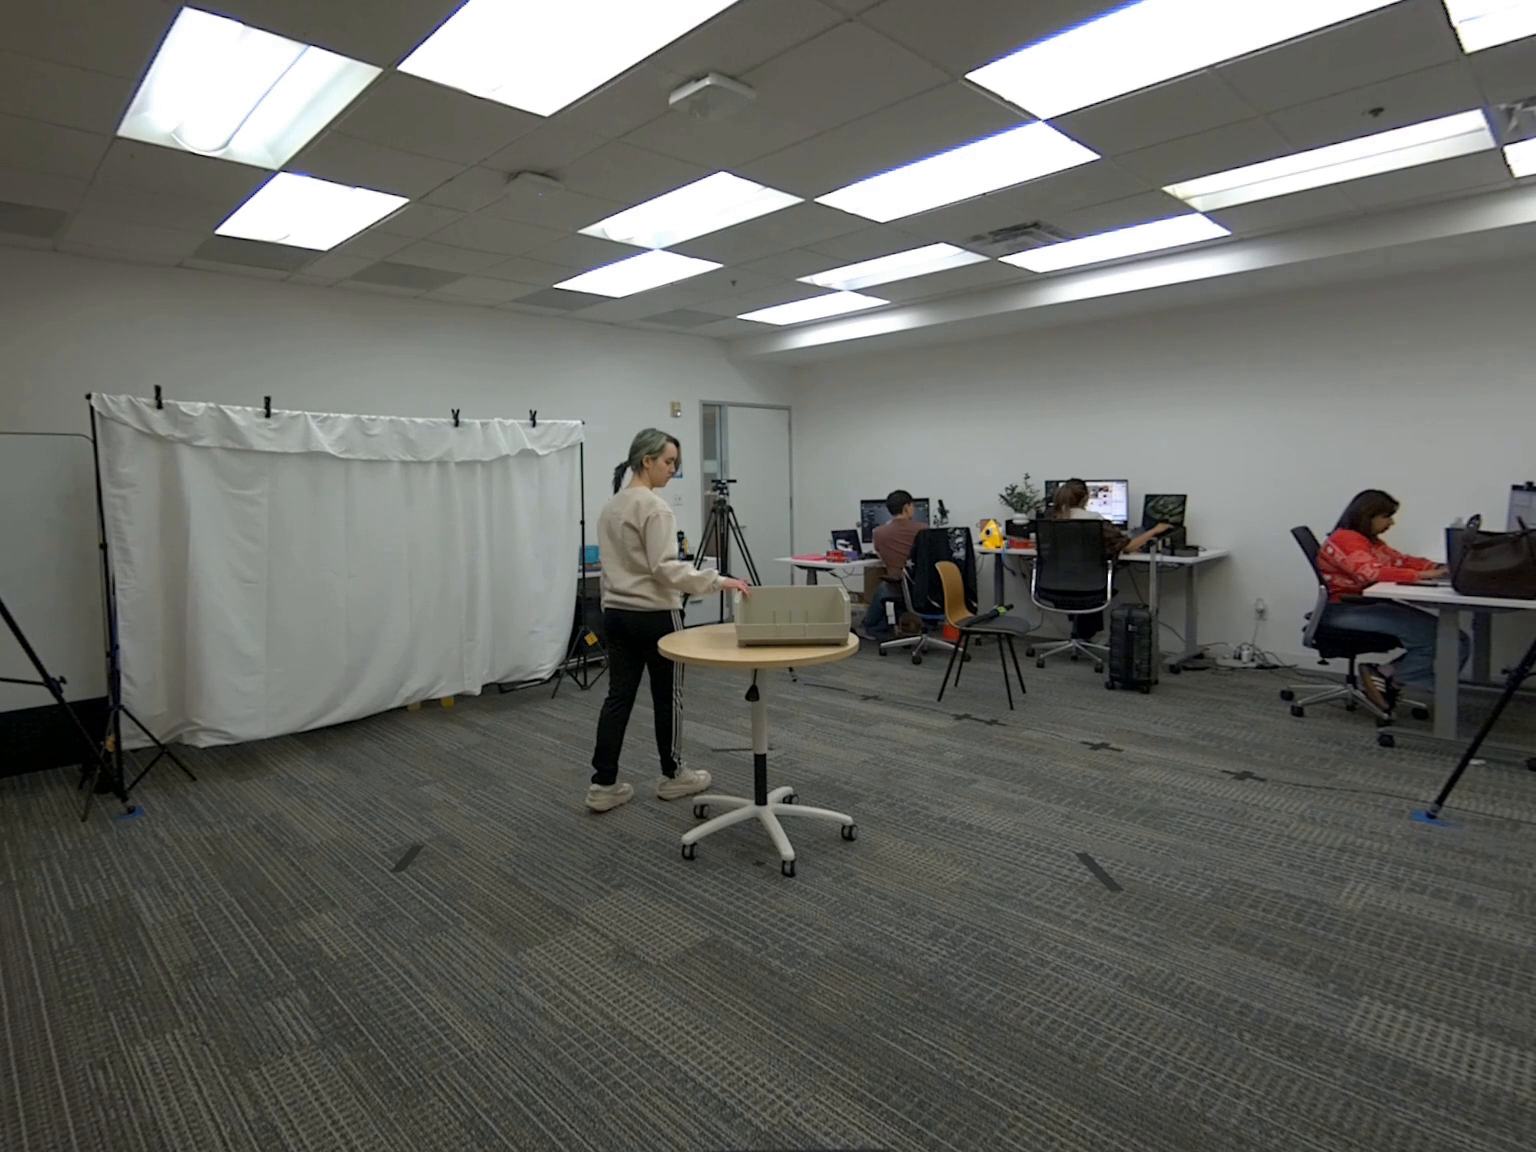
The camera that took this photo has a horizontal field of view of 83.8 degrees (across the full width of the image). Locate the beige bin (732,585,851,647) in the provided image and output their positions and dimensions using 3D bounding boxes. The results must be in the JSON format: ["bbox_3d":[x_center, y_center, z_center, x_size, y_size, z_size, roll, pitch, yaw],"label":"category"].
[{"bbox_3d":[0.091,0.149,3.258,0.424,0.188,0.377,-2,4,3],"label":"beige bin"}]
